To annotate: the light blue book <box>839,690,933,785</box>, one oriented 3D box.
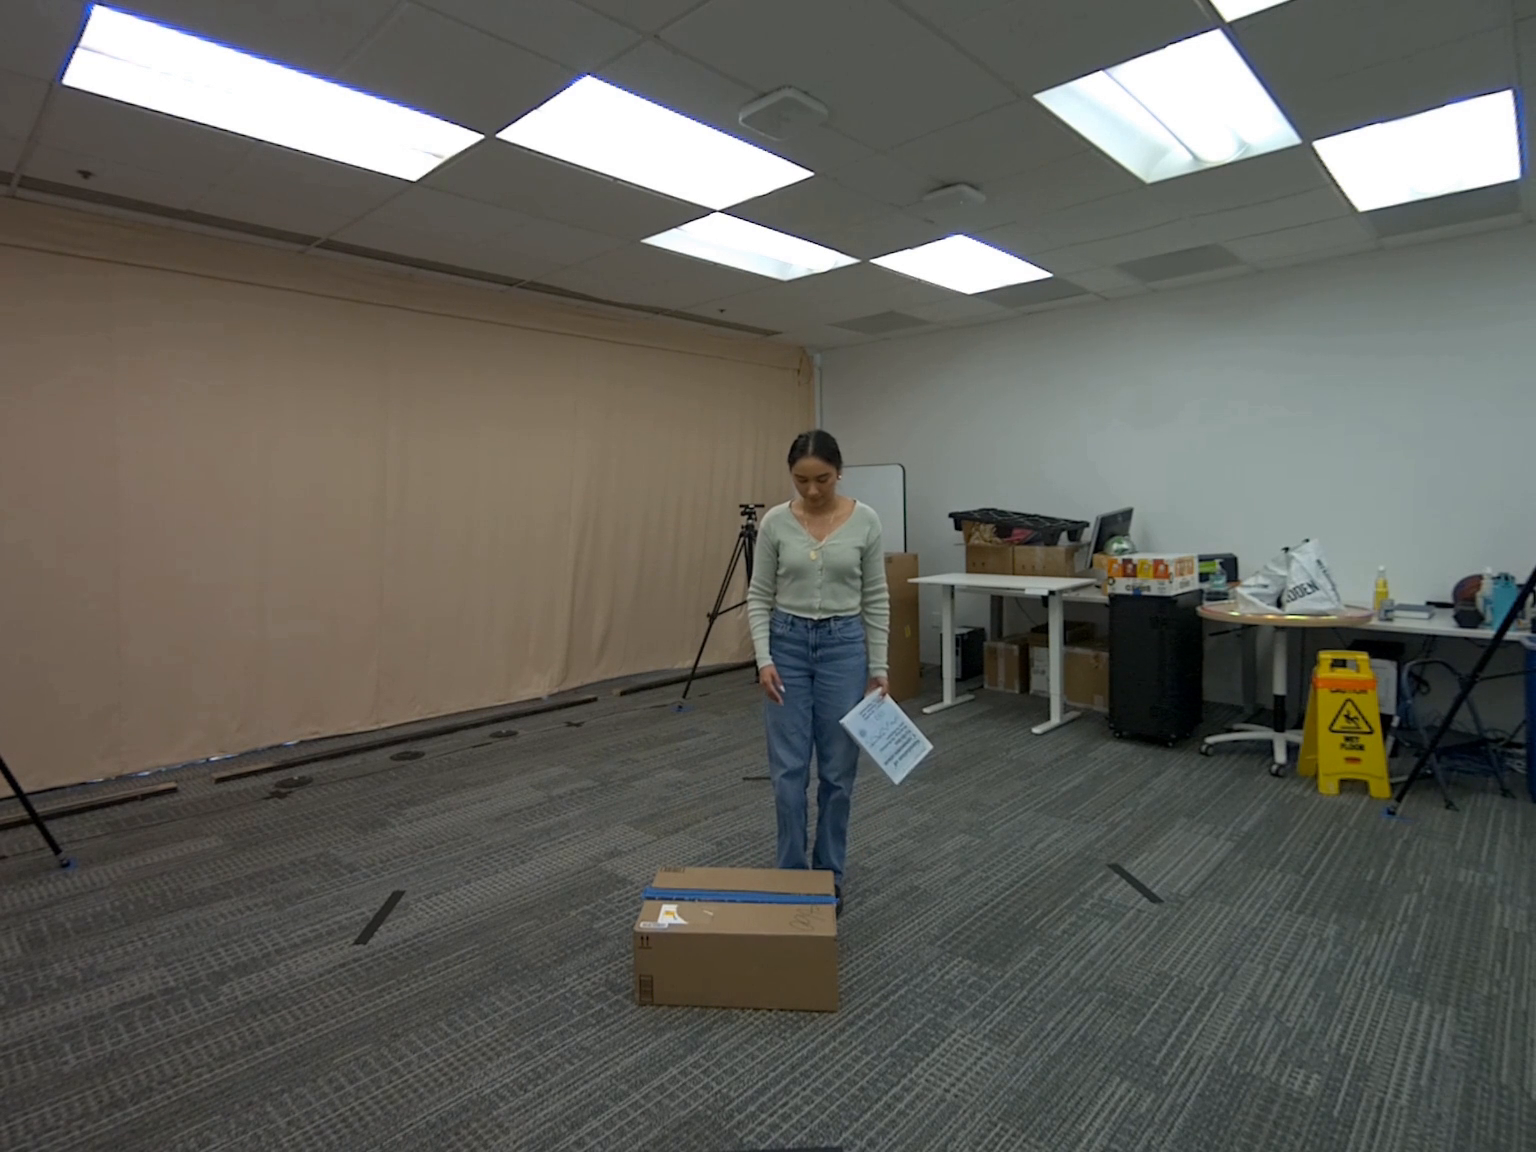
[{"bbox_3d":[0.400,0.527,2.814,0.190,0.264,0.059,-38,-9,-11],"label":"light blue book"}]
